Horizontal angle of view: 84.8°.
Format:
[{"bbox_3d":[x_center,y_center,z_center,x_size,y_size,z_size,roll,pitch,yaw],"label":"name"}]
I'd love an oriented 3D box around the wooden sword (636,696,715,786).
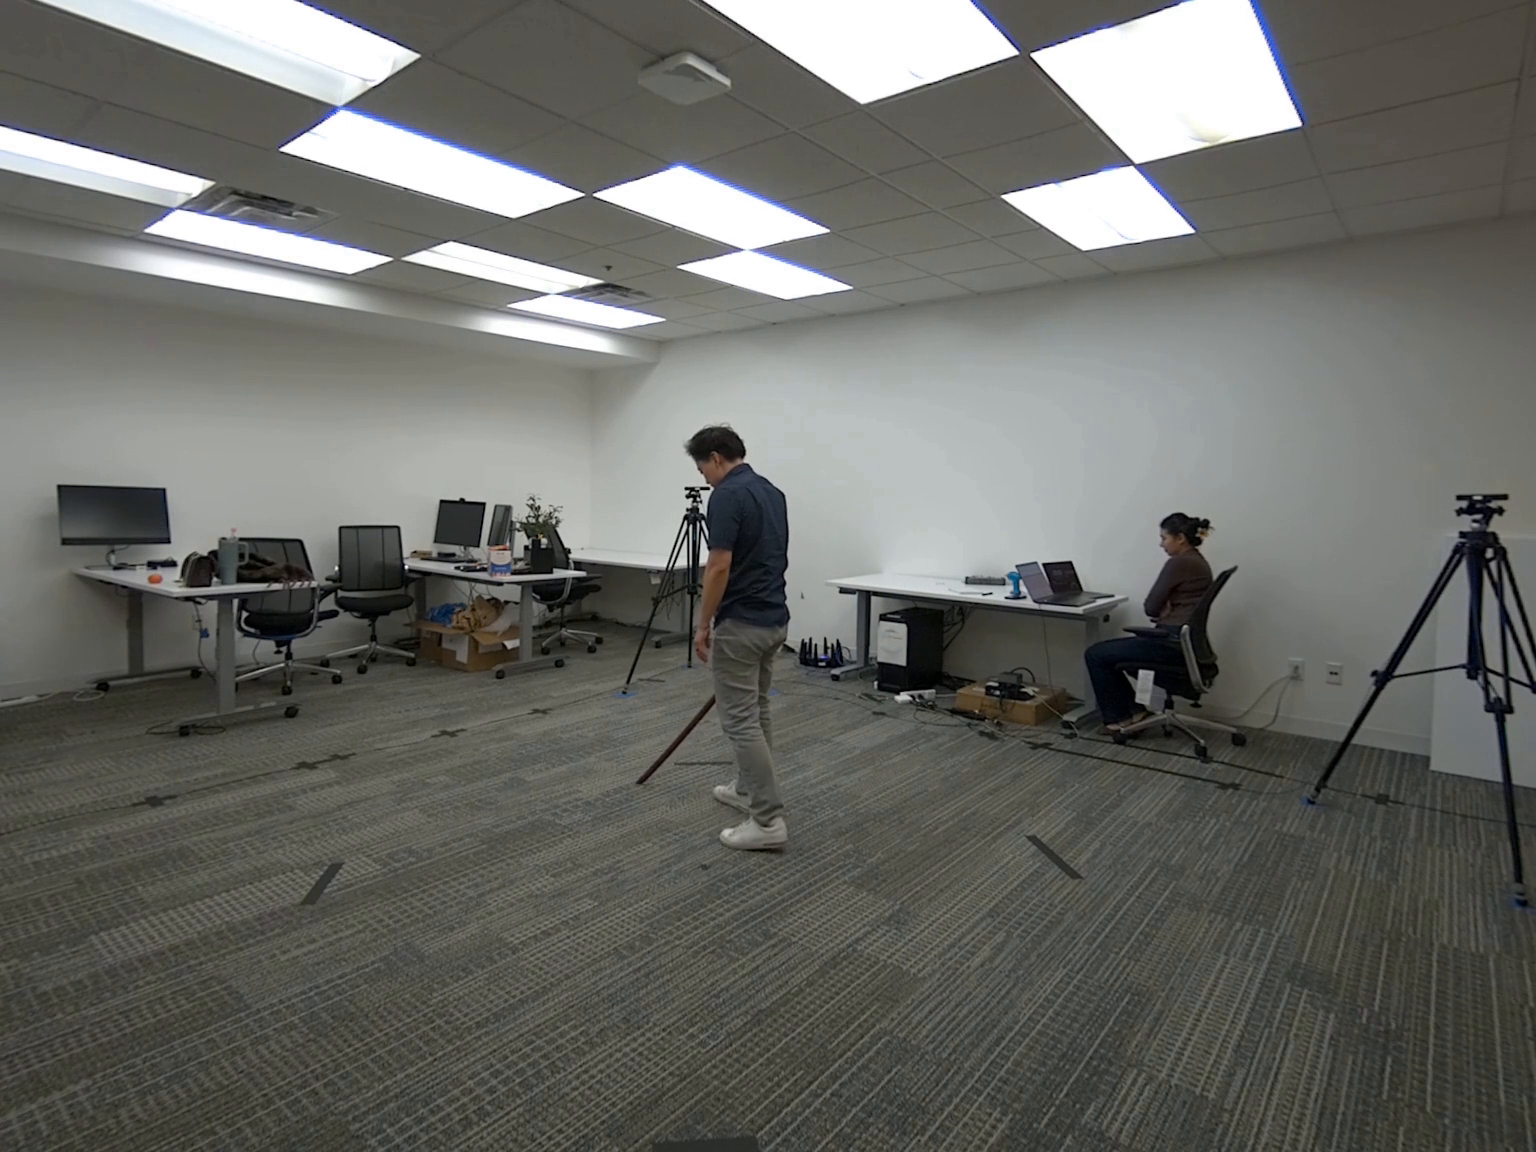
[{"bbox_3d":[-0.297,0.592,3.925,0.024,1.024,0.051,40,8,0],"label":"wooden sword"}]
